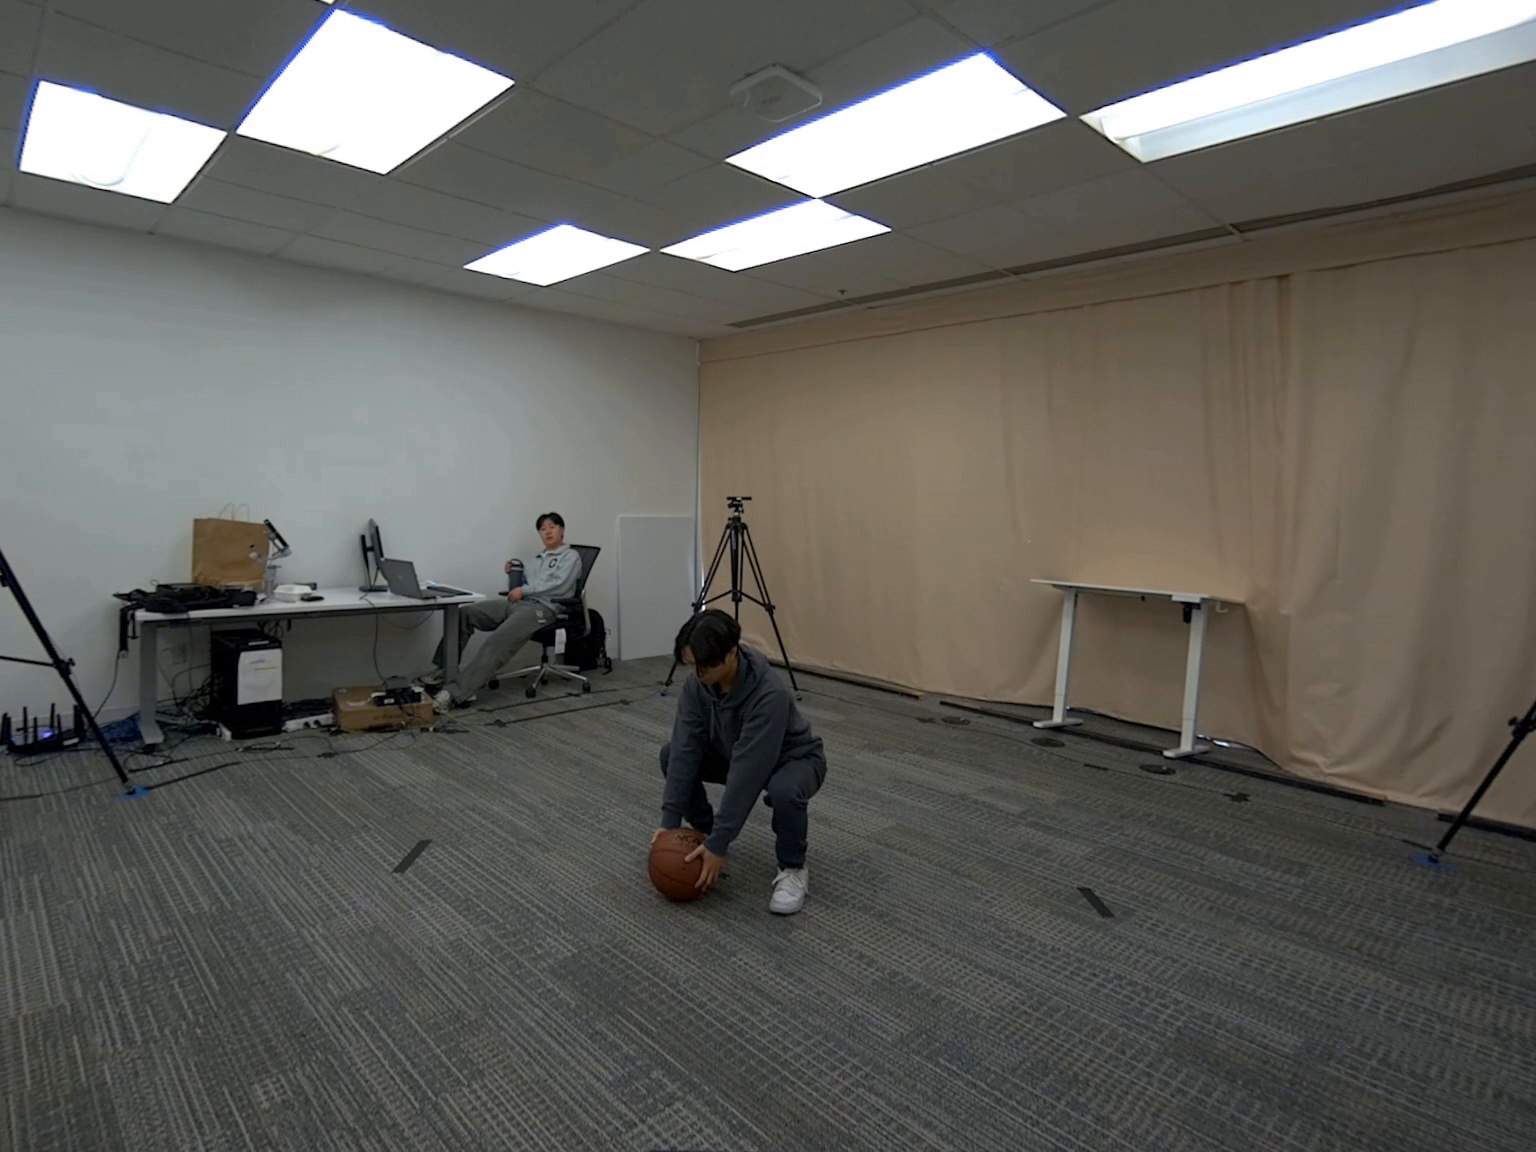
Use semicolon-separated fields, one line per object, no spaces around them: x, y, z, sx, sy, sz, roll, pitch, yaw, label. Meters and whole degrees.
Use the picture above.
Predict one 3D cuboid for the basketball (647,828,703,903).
-0.309;0.993;2.927;0.236;0.235;0.237;1;4;-1;basketball
